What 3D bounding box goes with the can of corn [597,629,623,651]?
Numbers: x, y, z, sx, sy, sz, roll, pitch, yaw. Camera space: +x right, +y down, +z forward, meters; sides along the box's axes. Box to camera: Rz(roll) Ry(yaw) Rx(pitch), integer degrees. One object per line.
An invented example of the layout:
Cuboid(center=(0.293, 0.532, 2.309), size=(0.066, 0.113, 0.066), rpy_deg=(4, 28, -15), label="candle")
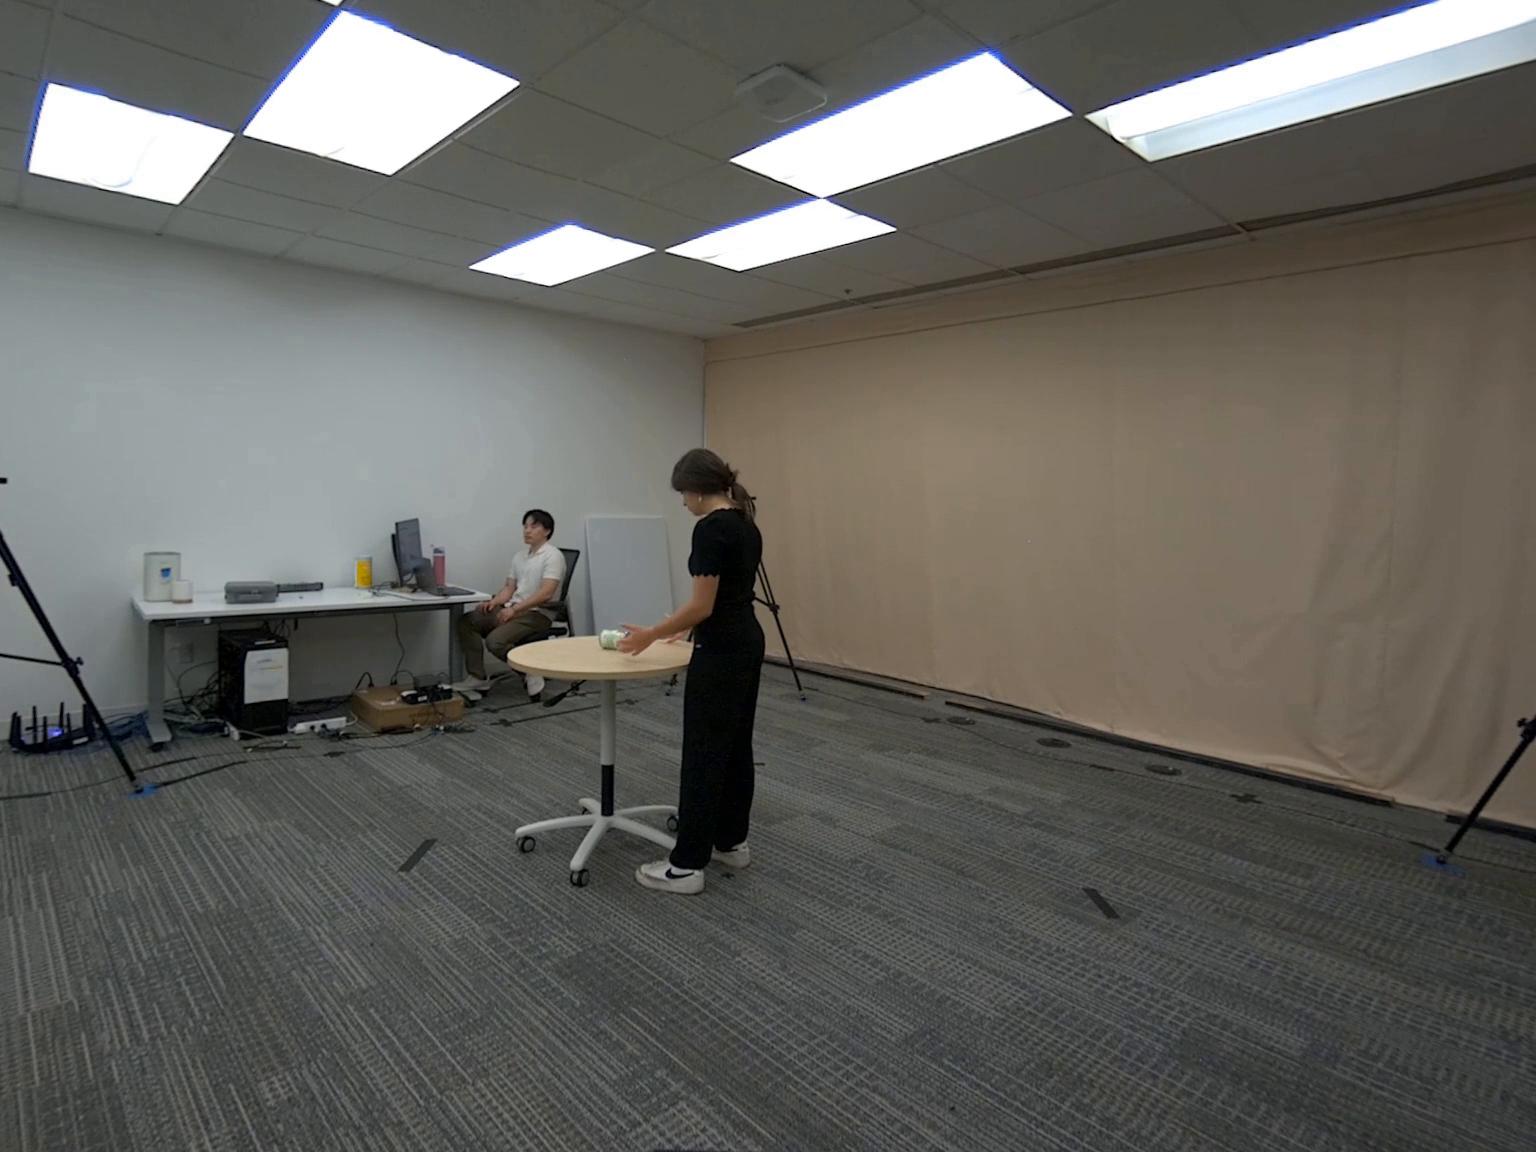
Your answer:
Cuboid(center=(-0.605, 0.249, 3.328), size=(0.113, 0.074, 0.073), rpy_deg=(3, 4, 19), label="can of corn")
